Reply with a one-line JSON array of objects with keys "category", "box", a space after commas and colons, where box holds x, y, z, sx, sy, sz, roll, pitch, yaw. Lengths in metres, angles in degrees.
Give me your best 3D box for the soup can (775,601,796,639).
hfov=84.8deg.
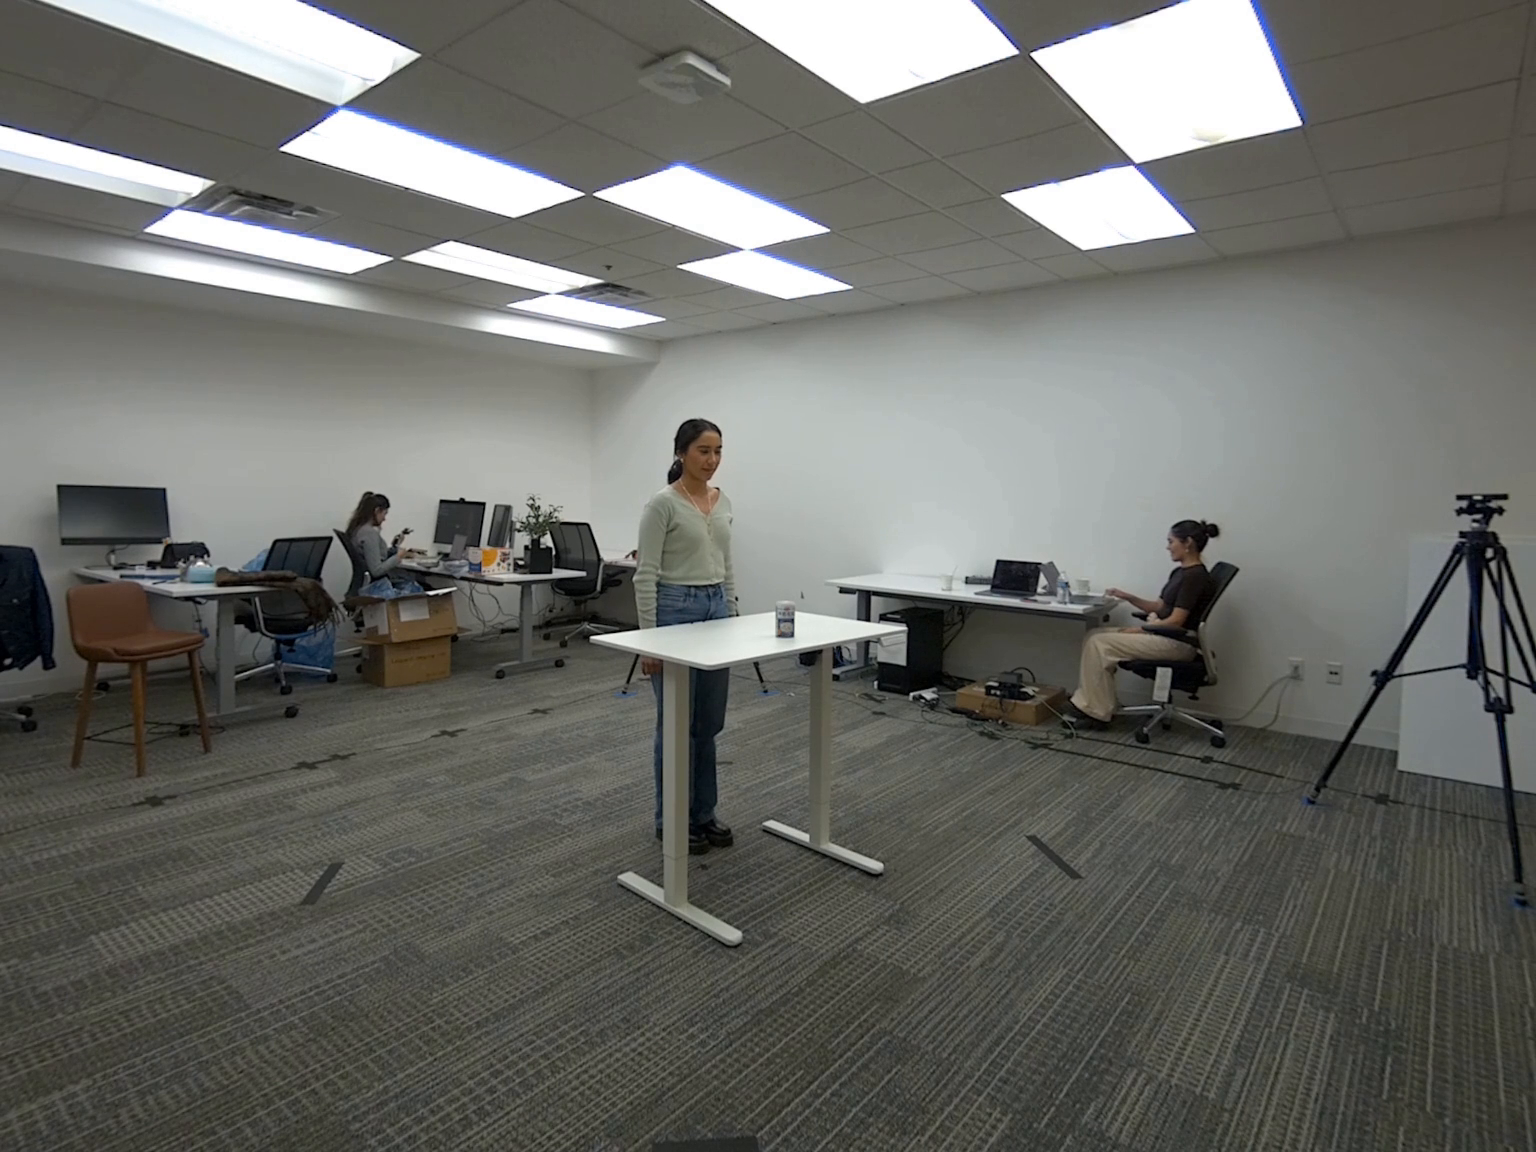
[{"category": "soup can", "box": [0.050, 0.149, 2.903, 0.067, 0.121, 0.067, 0, 3, -2]}]
